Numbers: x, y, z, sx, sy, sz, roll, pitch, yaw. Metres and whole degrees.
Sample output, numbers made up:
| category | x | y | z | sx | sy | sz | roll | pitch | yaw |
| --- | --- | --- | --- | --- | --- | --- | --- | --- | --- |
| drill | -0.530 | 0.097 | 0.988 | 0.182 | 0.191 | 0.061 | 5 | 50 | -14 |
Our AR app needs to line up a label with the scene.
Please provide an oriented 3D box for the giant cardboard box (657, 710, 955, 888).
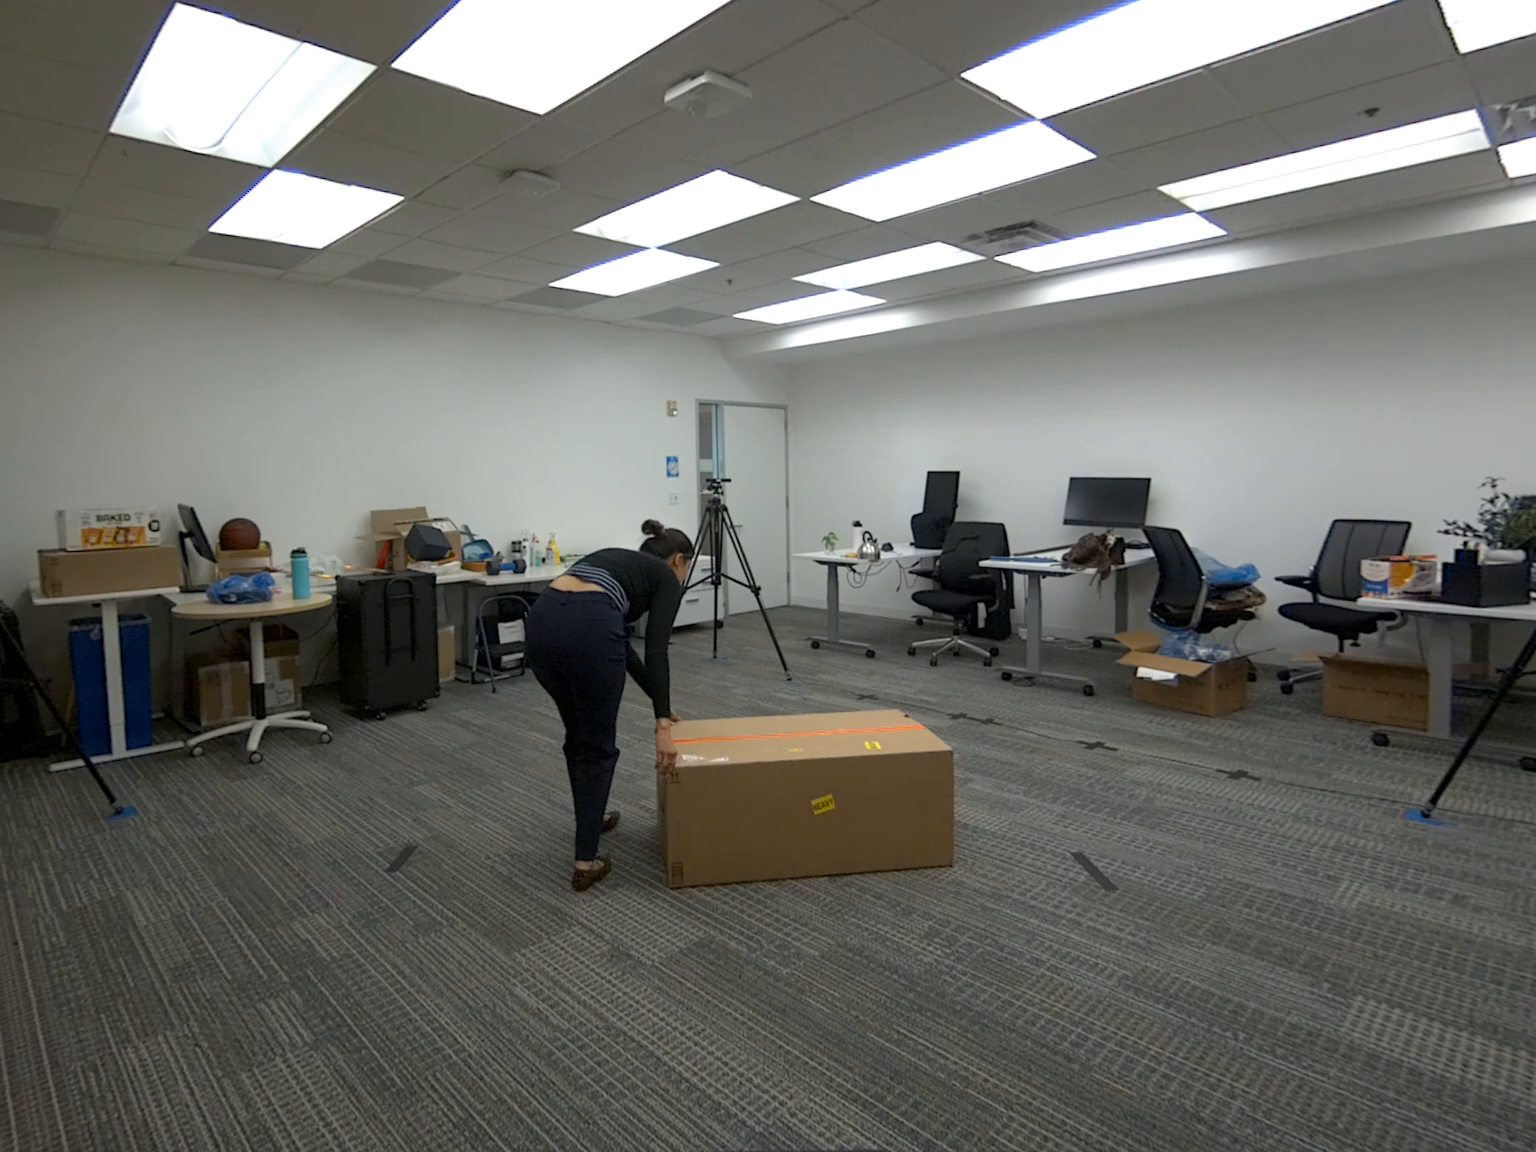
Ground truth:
| category | x | y | z | sx | sy | sz | roll | pitch | yaw |
| --- | --- | --- | --- | --- | --- | --- | --- | --- | --- |
| giant cardboard box | 0.104 | 0.808 | 3.248 | 1.018 | 0.424 | 0.584 | -2 | 5 | -8 |
